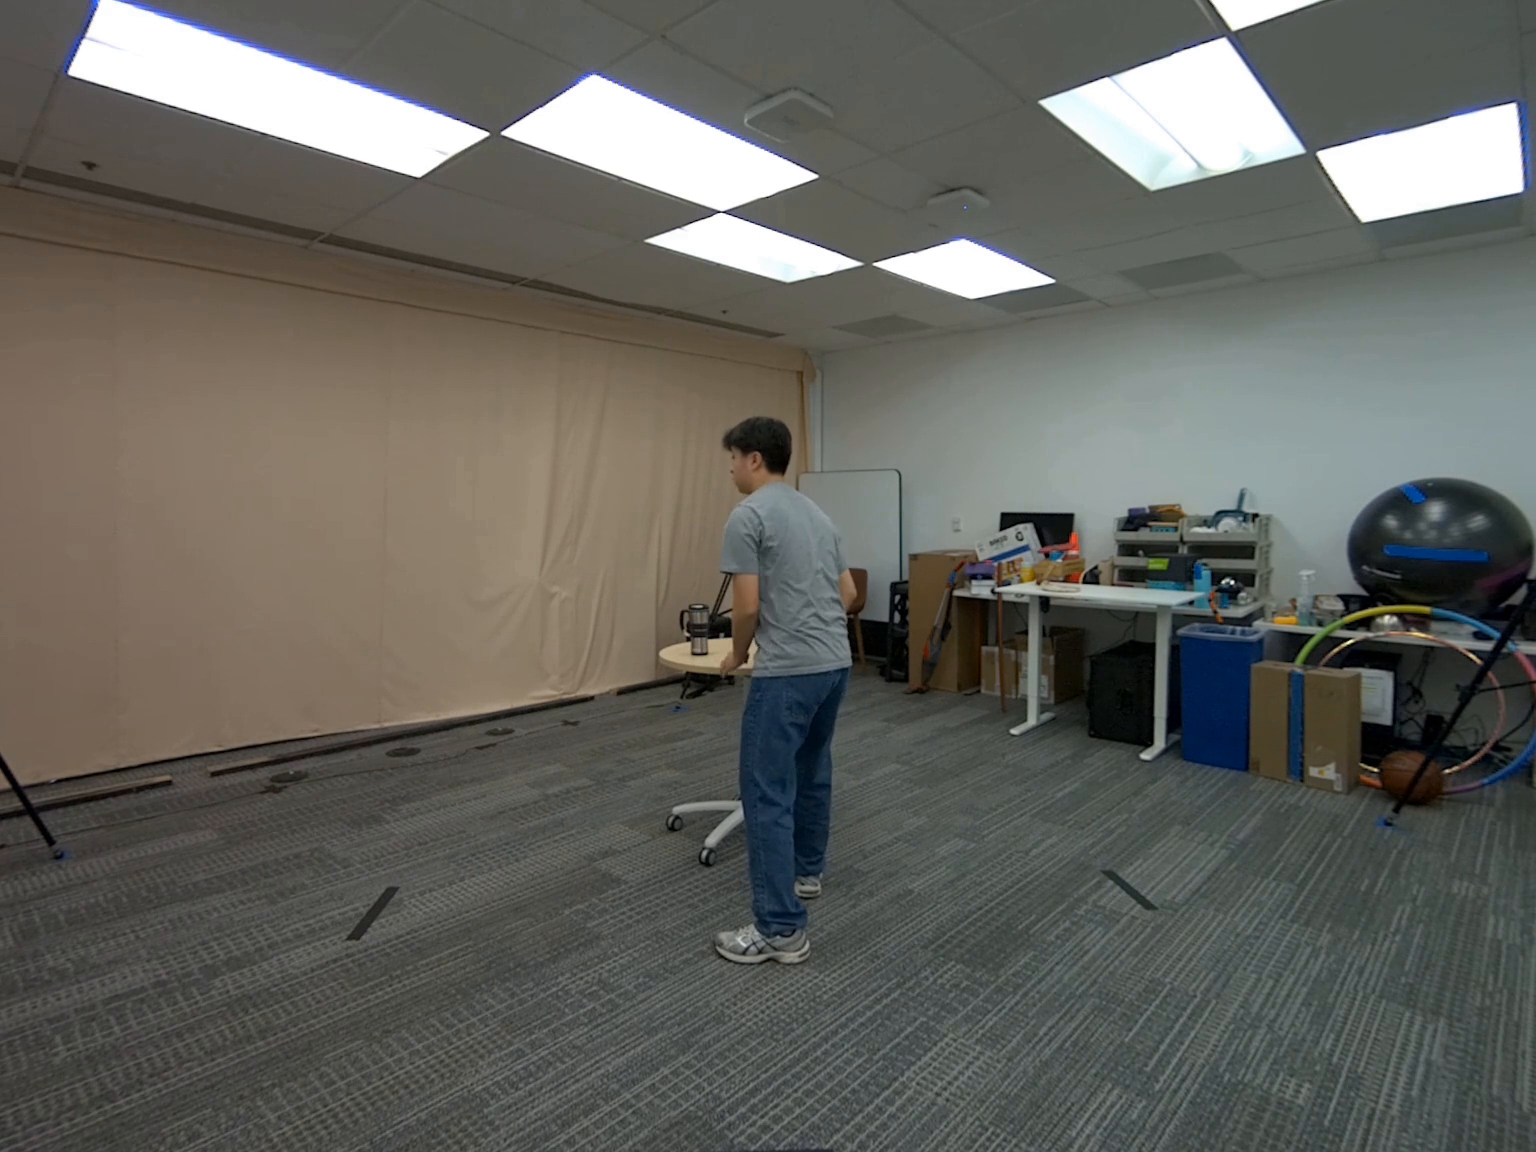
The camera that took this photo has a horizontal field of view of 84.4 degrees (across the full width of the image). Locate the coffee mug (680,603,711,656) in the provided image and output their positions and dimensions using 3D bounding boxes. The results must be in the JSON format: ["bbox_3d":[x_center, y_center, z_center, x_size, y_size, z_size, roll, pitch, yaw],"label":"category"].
[{"bbox_3d":[-0.302,0.222,3.485,0.125,0.202,0.085,4,7,31],"label":"coffee mug"}]
